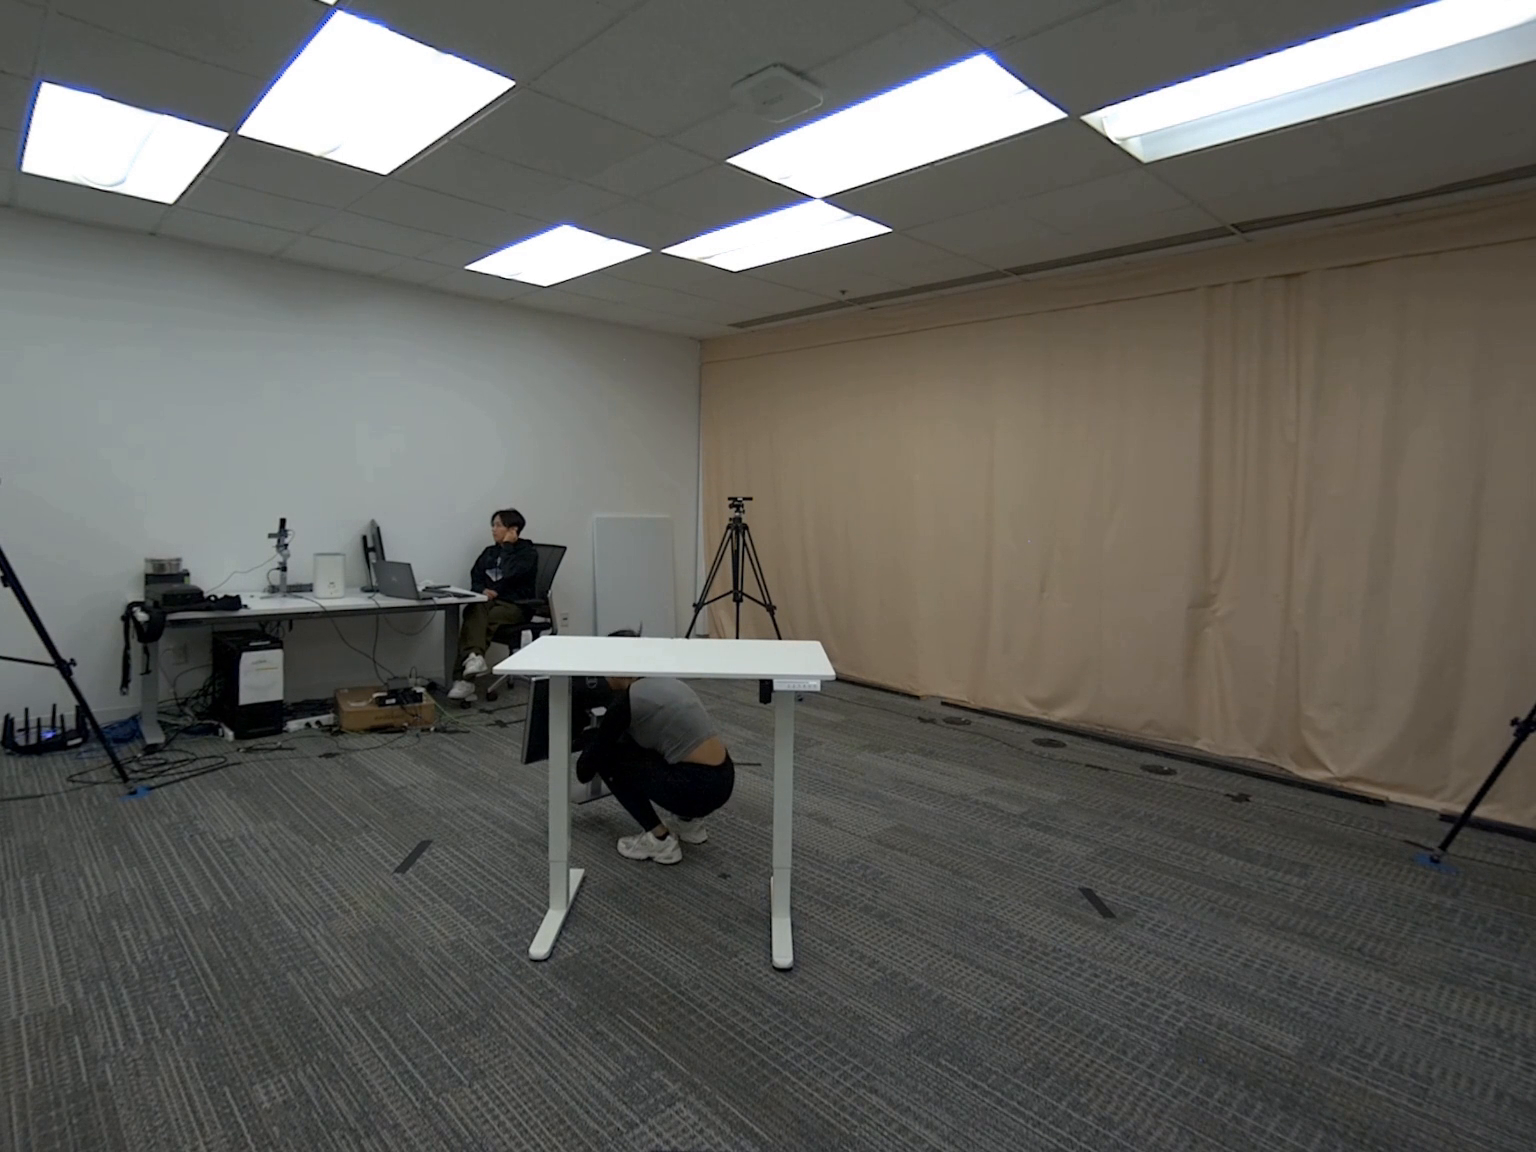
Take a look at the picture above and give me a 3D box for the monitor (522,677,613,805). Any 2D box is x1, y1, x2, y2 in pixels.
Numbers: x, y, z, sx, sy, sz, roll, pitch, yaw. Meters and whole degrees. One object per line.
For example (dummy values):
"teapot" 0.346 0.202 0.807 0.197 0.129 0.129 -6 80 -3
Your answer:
"monitor" -0.767 0.665 3.566 0.191 0.522 0.527 1 2 40
